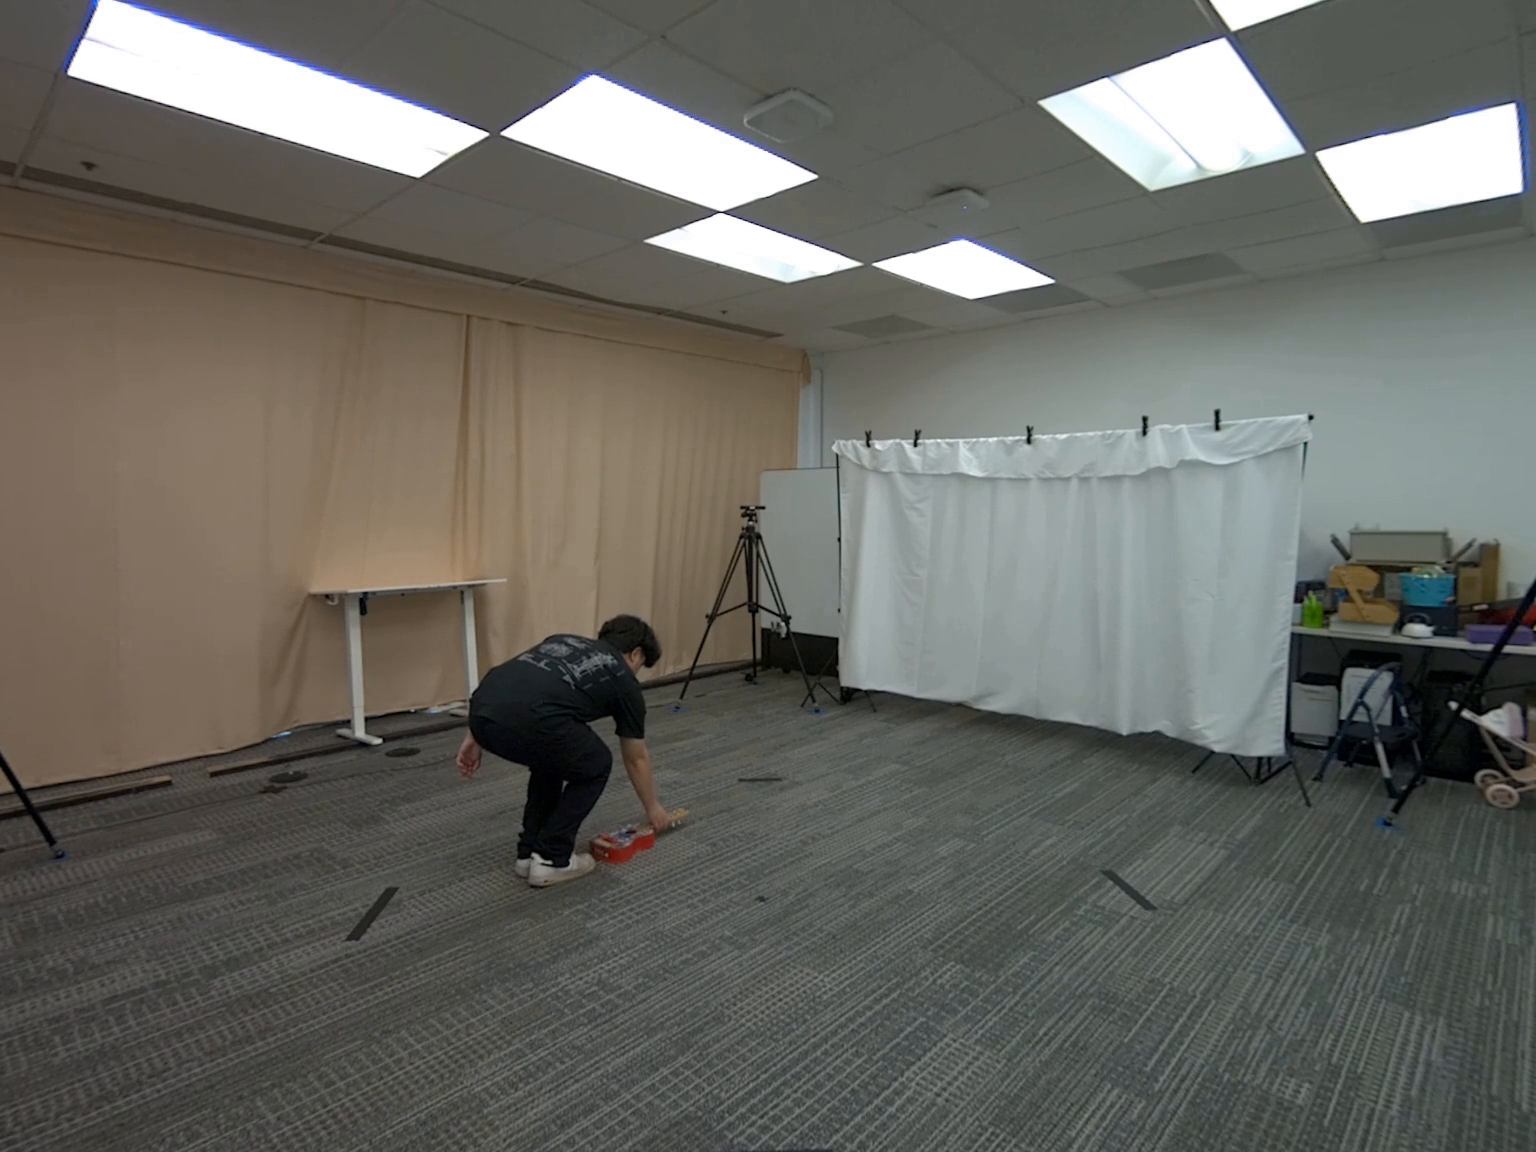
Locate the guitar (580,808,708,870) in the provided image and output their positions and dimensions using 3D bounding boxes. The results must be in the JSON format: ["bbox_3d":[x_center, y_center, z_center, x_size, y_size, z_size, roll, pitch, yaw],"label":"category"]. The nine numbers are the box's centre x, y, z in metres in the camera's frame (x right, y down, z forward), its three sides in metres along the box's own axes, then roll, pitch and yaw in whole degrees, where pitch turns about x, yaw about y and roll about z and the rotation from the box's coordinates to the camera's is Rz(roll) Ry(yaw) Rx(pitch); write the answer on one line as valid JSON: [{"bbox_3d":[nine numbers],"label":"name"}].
[{"bbox_3d":[-0.506,1.070,3.479,0.483,0.070,0.199,-5,5,-40],"label":"guitar"}]
